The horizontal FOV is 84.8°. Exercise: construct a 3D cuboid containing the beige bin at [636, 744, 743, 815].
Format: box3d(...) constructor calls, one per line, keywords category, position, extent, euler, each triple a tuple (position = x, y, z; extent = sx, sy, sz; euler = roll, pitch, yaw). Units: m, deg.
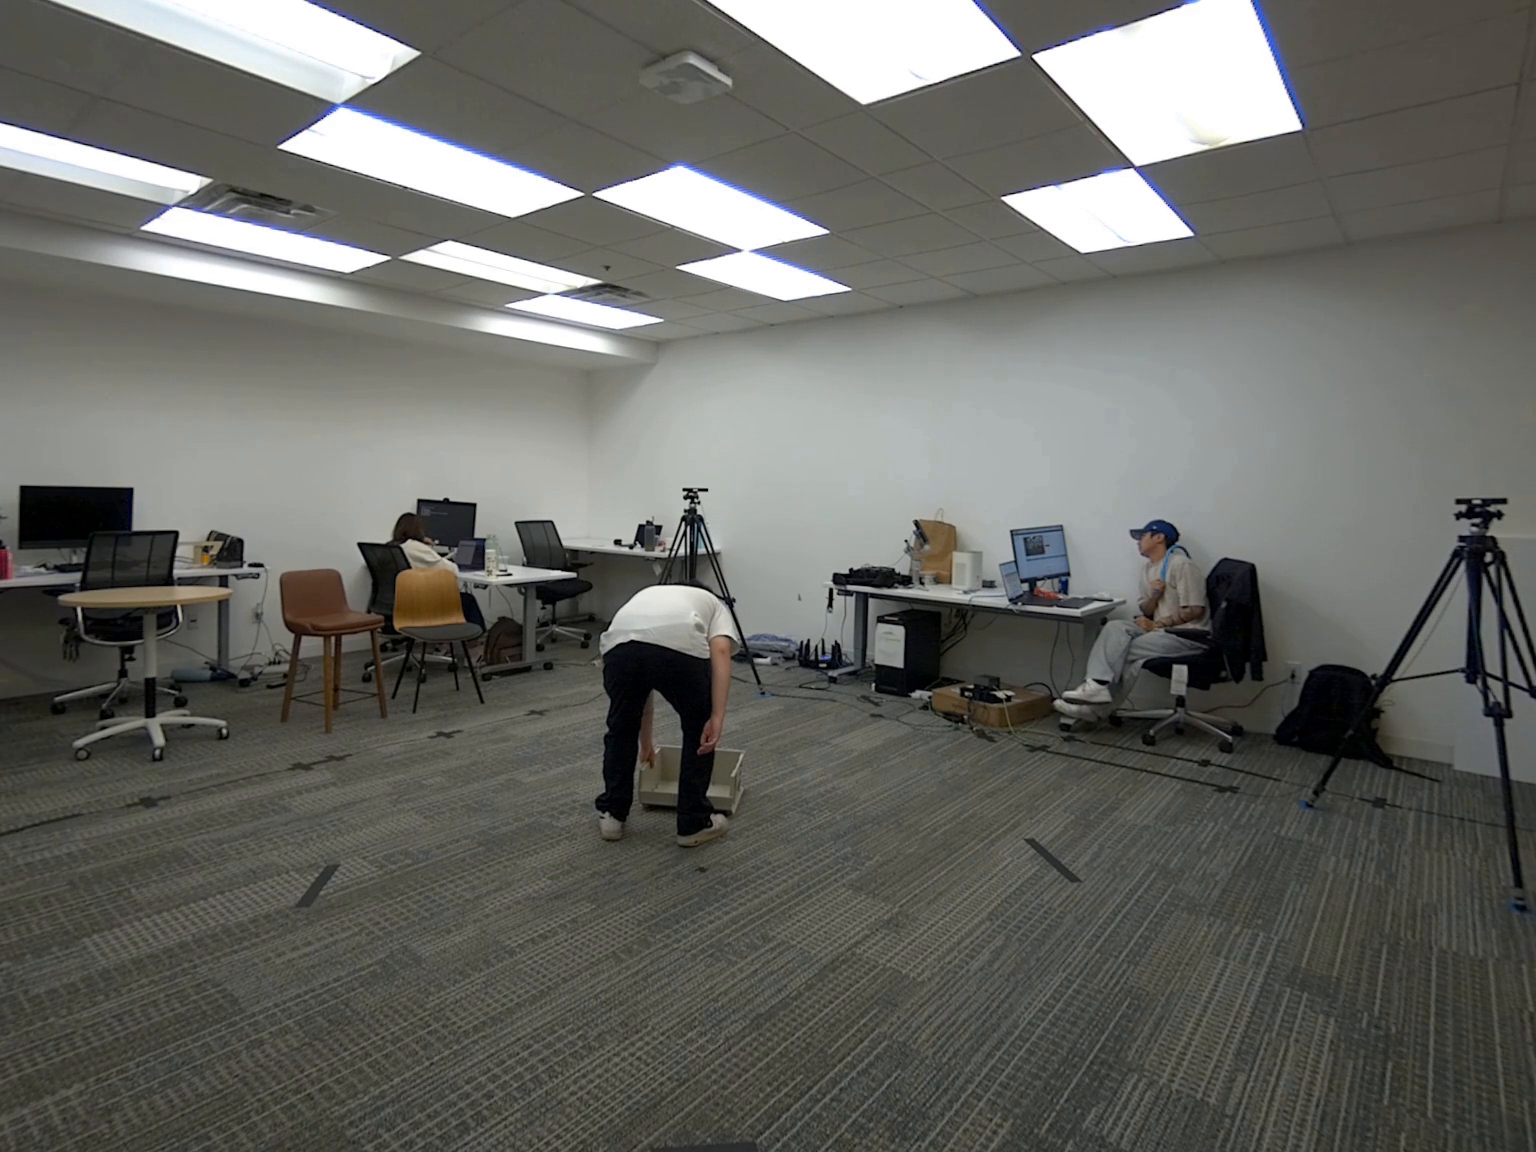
box3d(category="beige bin", position=(-0.344, 0.908, 3.807), extent=(0.426, 0.188, 0.375), euler=(1, 4, 8))
